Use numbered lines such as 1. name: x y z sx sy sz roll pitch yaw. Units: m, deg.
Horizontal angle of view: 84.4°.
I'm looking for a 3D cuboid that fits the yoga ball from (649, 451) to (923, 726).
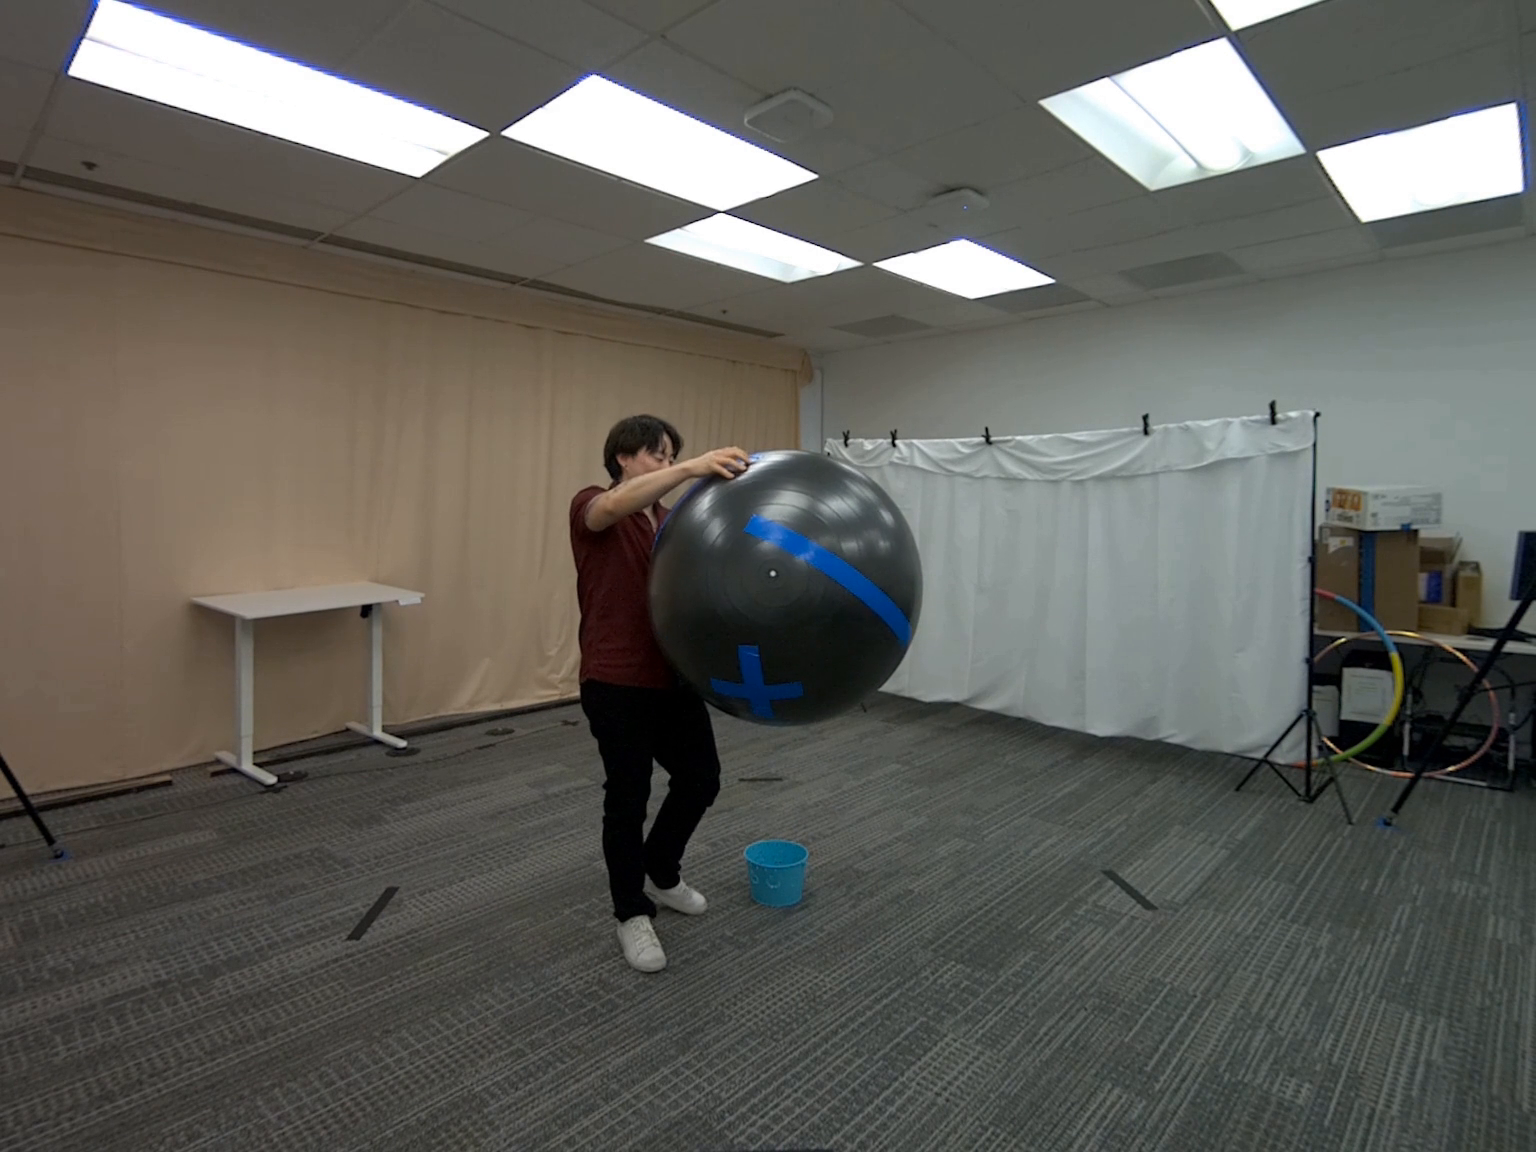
1. yoga ball: 0.051 0.037 2.340 0.757 0.756 0.761 0 4 -2
